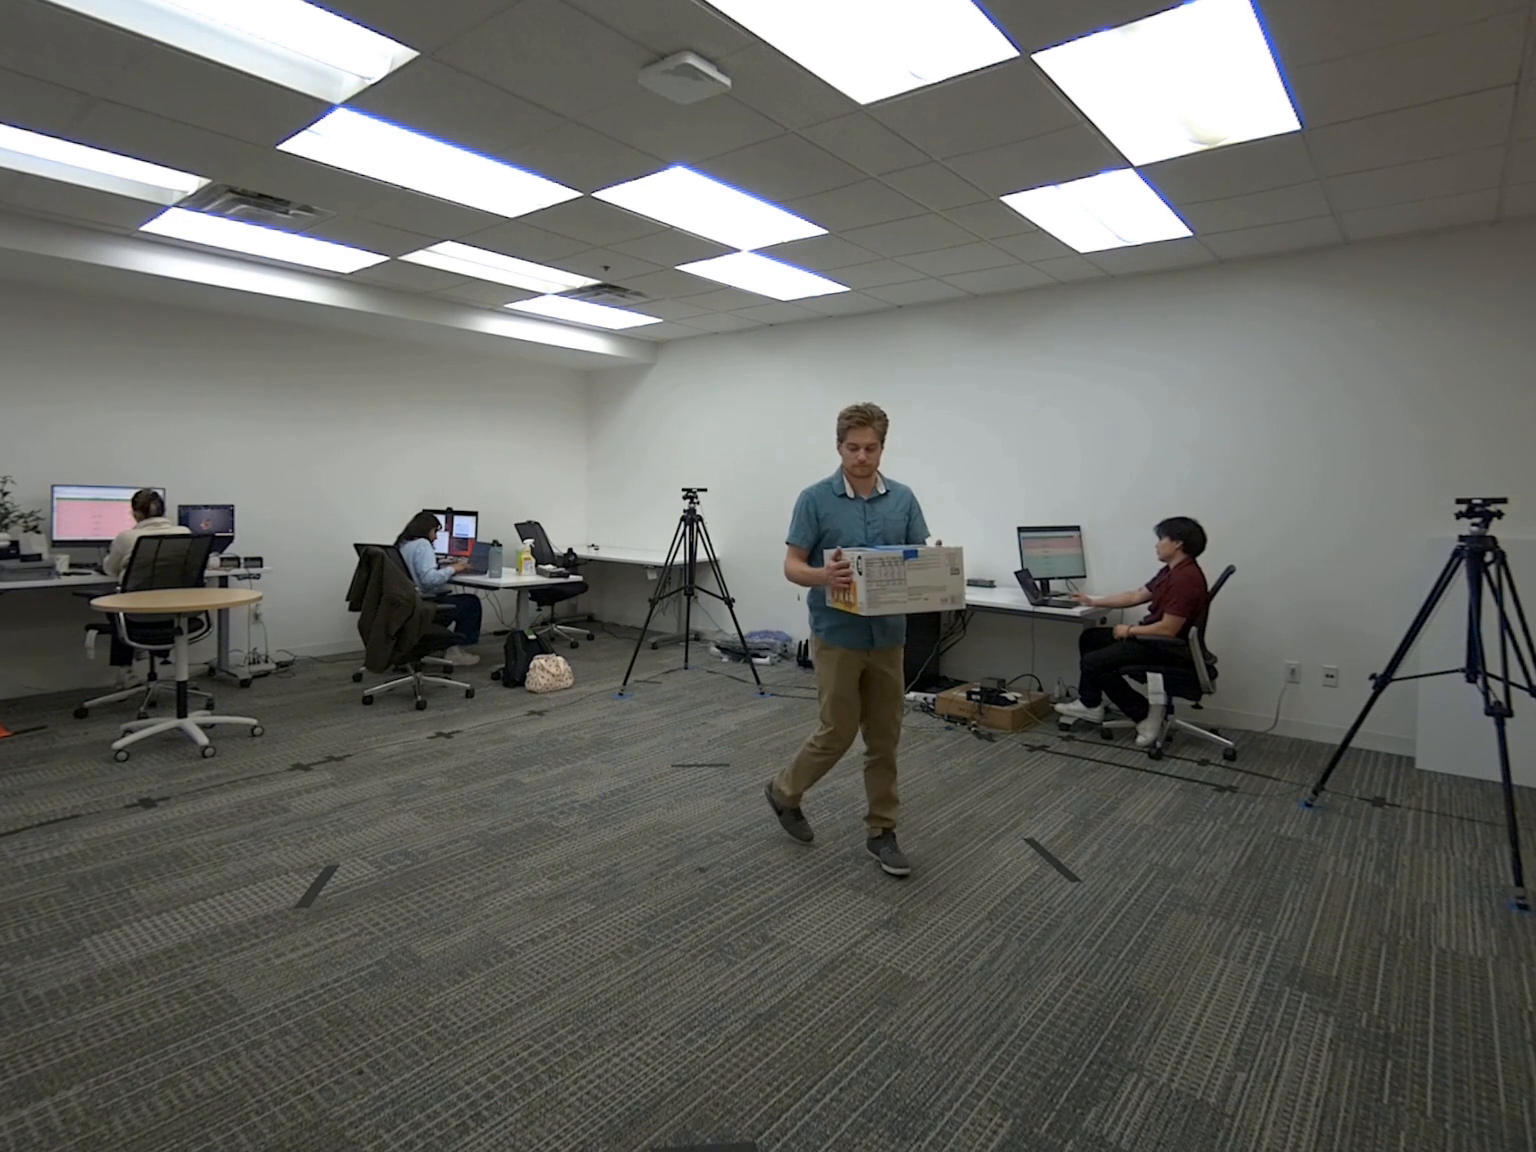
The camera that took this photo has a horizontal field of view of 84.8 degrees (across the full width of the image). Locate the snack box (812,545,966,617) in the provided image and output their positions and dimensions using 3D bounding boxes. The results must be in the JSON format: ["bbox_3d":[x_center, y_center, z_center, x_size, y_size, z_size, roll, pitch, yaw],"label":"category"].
[{"bbox_3d":[0.405,0.002,2.887,0.337,0.205,0.410,-4,3,-10],"label":"snack box"}]
